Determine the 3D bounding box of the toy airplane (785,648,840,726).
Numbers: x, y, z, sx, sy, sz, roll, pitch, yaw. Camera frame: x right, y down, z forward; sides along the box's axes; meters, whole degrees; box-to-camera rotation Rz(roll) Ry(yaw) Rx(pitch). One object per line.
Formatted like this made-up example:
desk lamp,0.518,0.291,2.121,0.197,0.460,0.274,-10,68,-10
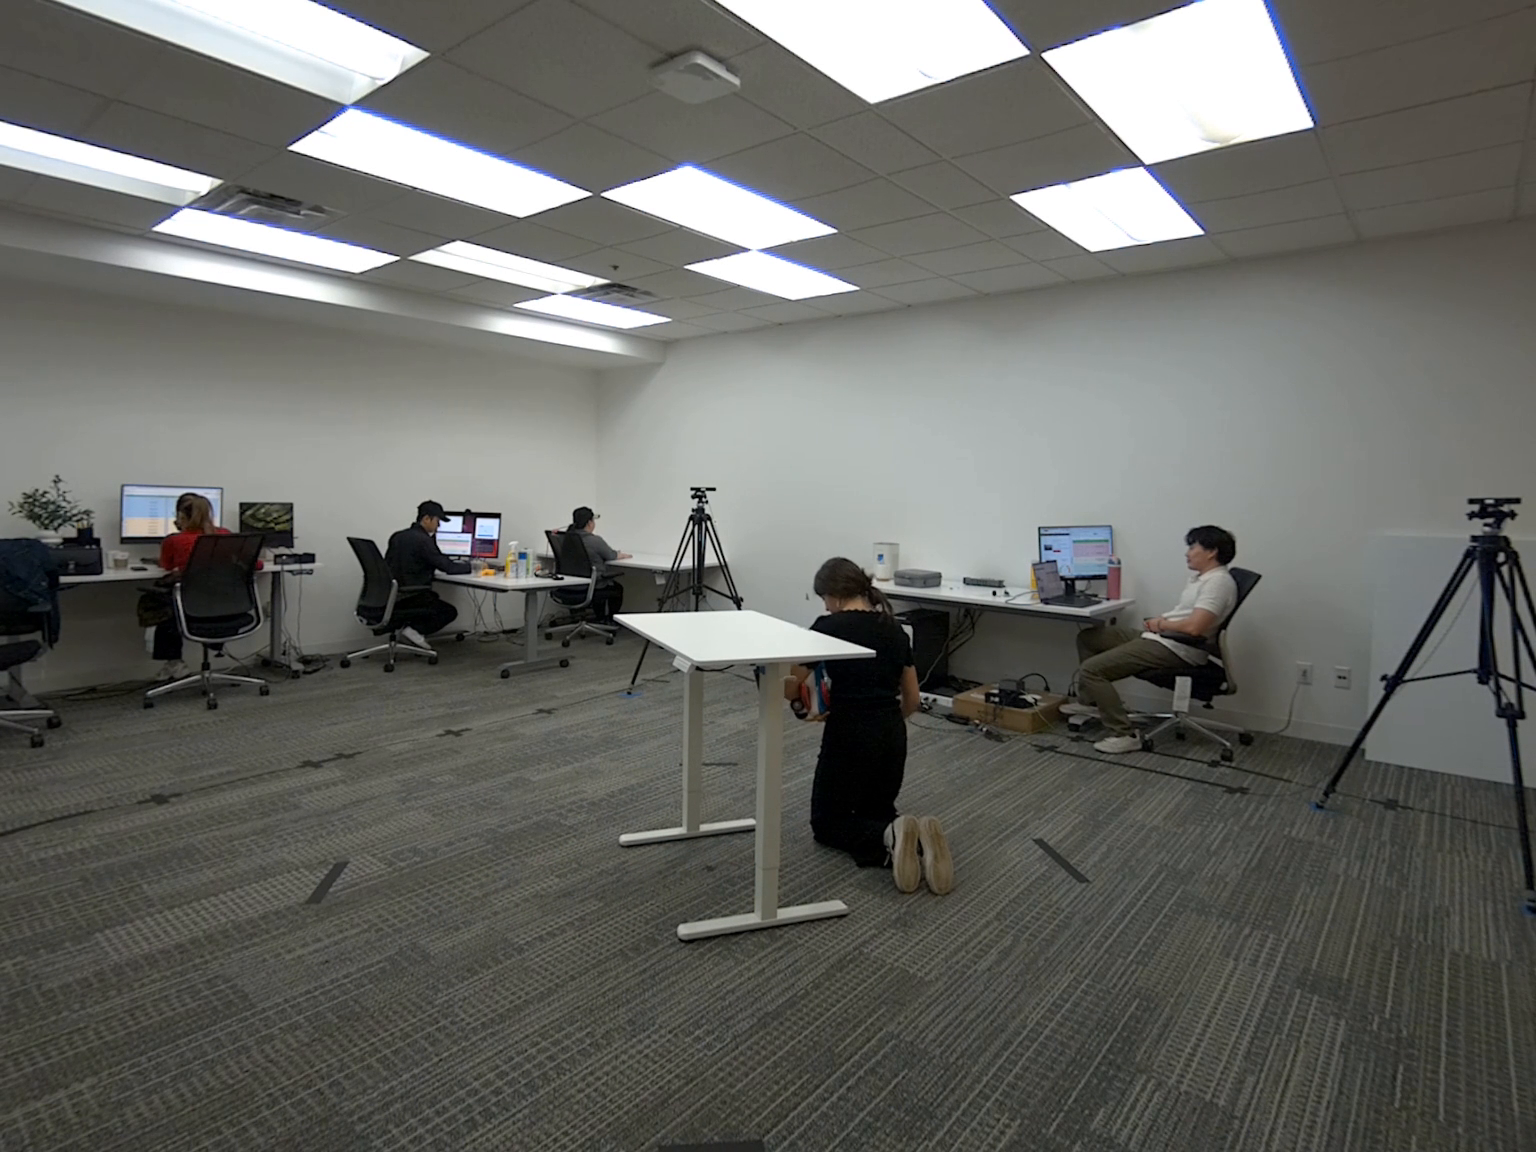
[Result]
toy airplane,0.179,0.434,3.341,0.159,0.260,0.246,2,-1,16
